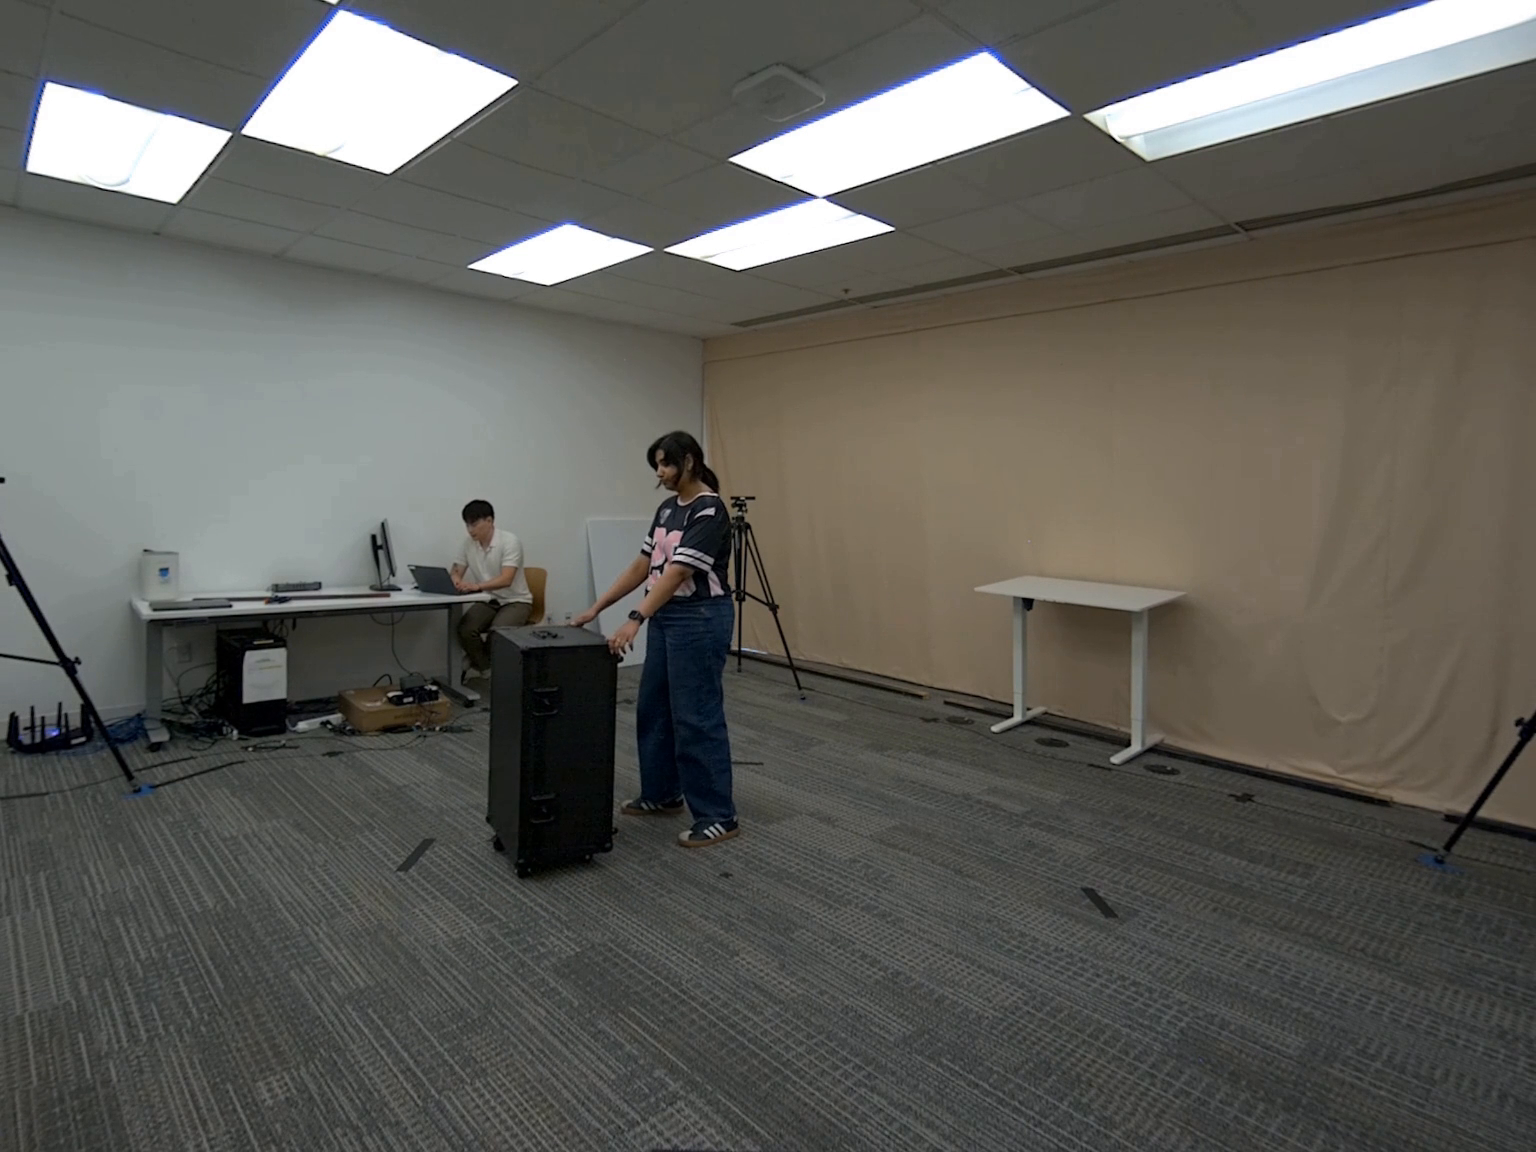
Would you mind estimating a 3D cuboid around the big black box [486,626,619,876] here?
[{"bbox_3d":[-0.847,0.656,3.240,0.377,0.867,0.536,1,3,-32],"label":"big black box"}]
